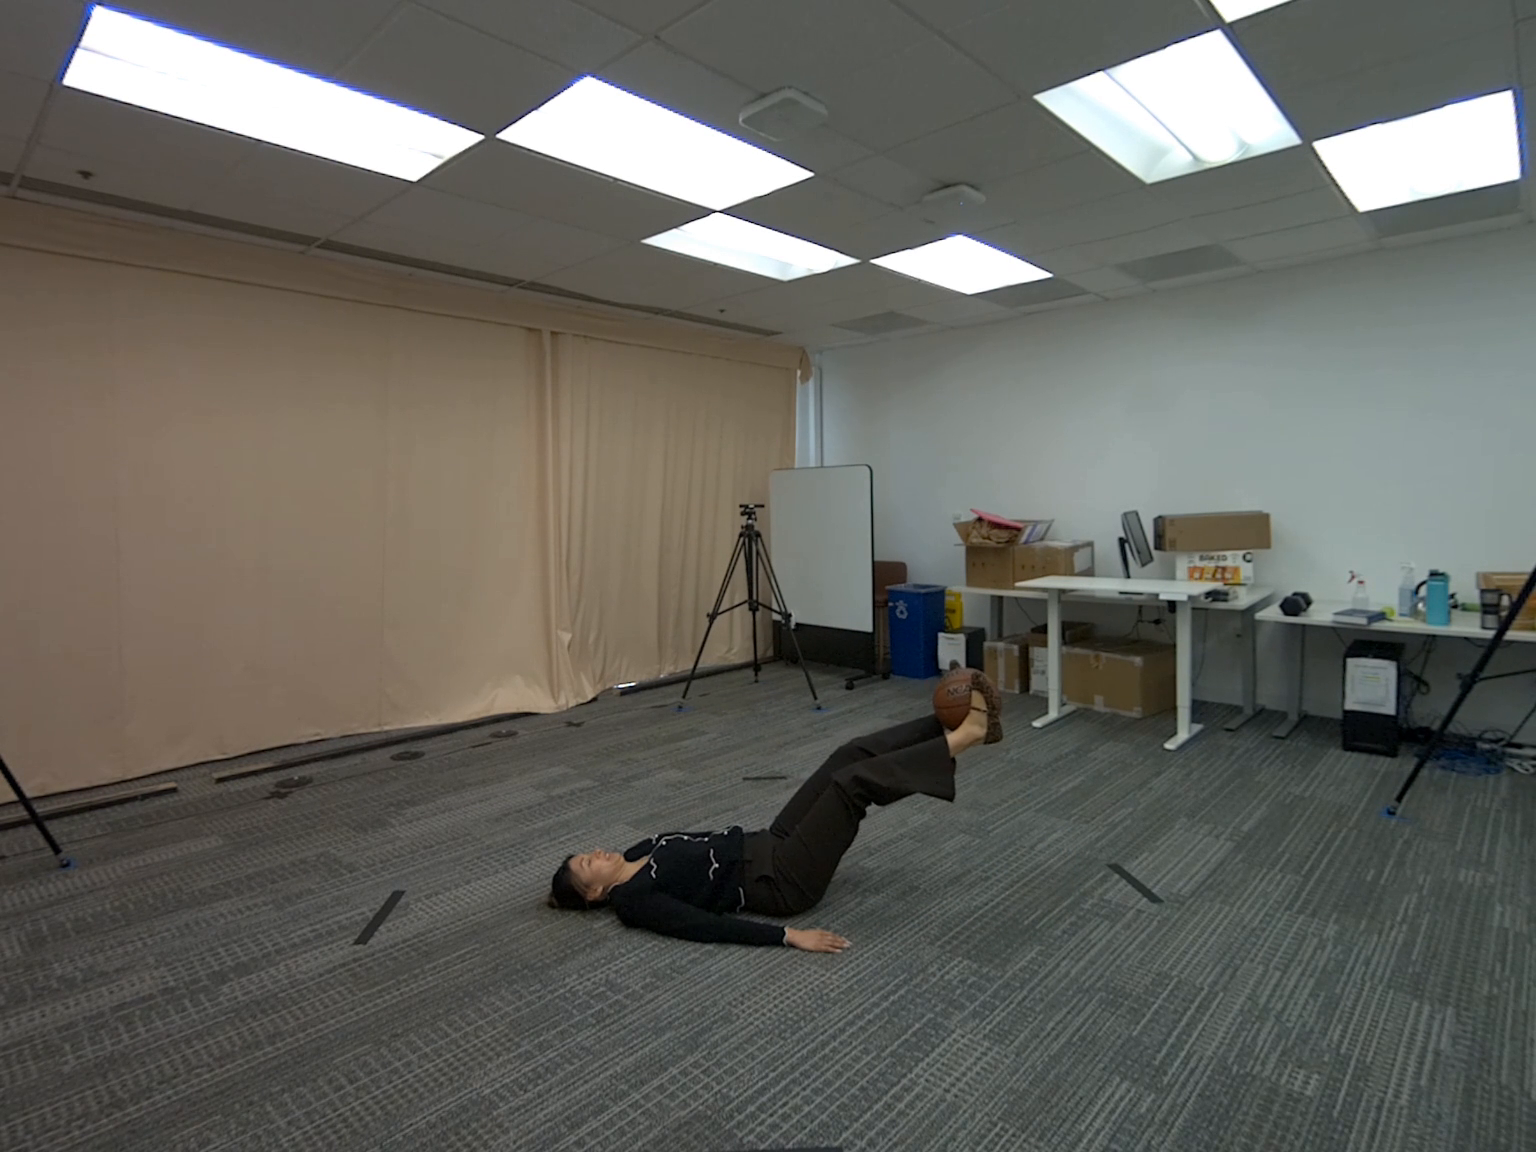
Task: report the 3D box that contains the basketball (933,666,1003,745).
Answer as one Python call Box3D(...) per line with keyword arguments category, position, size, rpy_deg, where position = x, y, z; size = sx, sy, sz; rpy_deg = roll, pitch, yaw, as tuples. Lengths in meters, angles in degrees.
Box3D(category="basketball", position=(0.712, 0.443, 2.991), size=(0.236, 0.236, 0.236), rpy_deg=(0, 1, -2))
